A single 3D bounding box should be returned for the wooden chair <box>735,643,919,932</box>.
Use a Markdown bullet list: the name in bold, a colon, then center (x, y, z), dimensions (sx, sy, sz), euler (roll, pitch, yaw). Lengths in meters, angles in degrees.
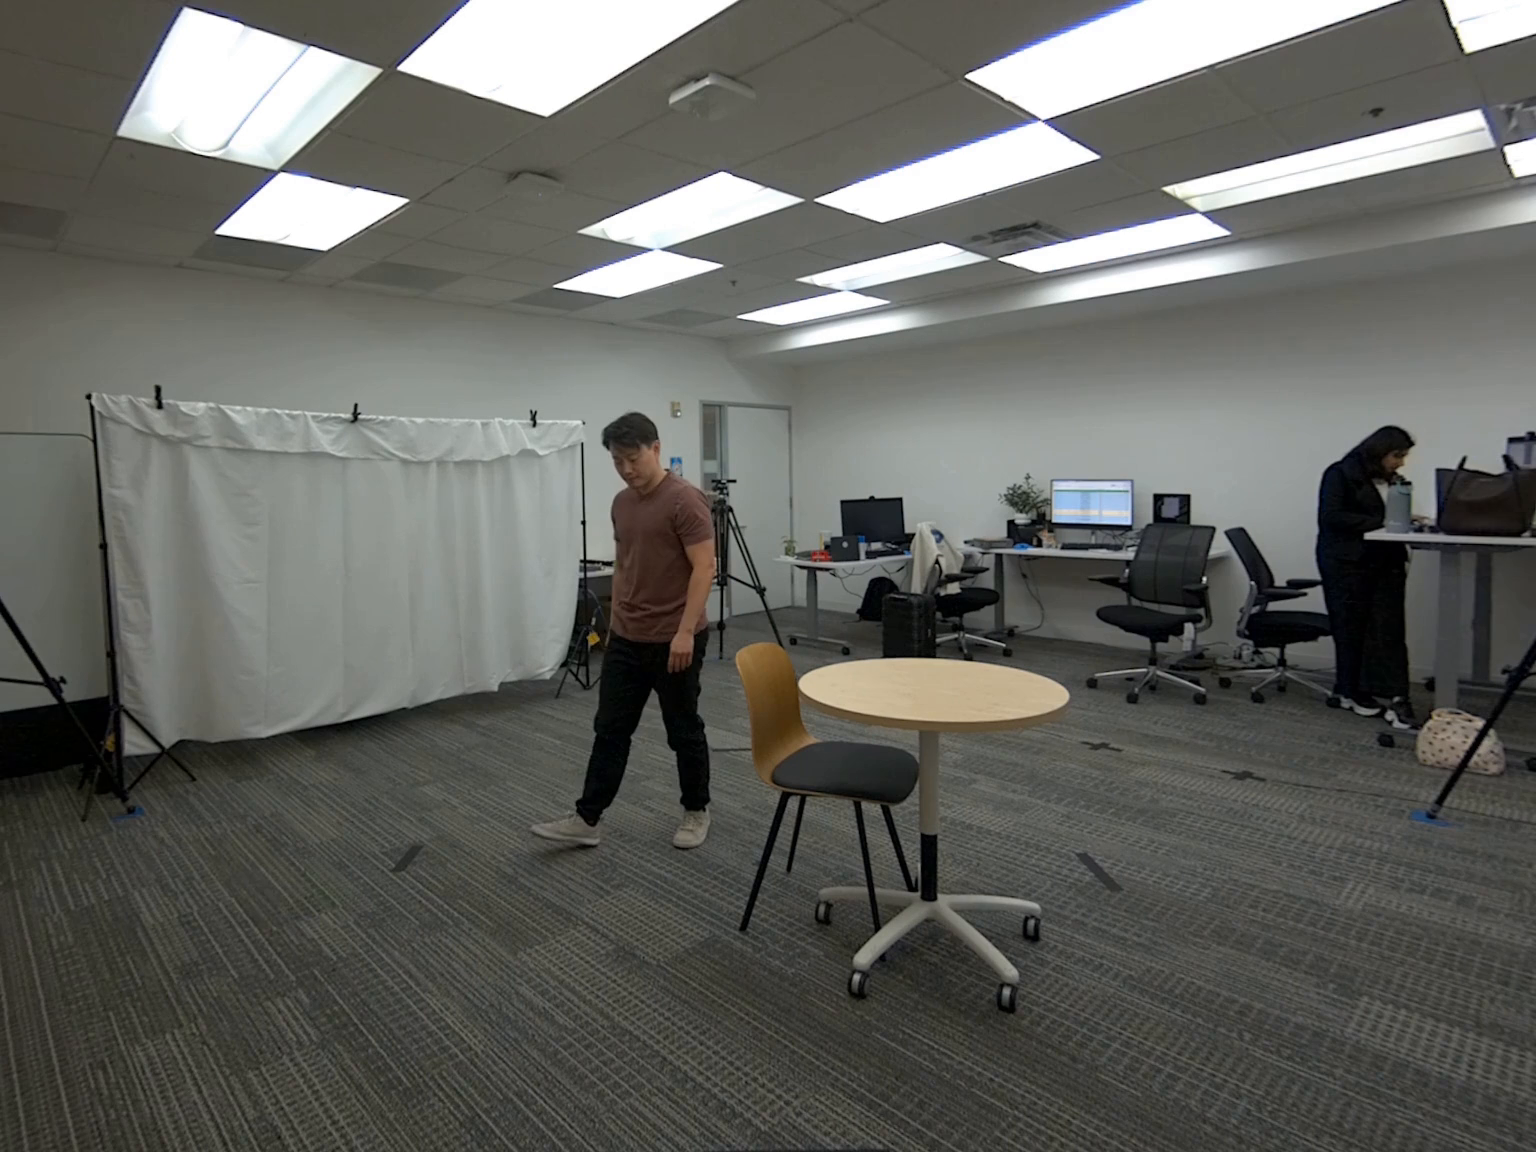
- **wooden chair**: center (0.203, 0.662, 2.728), dimensions (0.534, 0.876, 0.469), euler (-3, 2, 23)
